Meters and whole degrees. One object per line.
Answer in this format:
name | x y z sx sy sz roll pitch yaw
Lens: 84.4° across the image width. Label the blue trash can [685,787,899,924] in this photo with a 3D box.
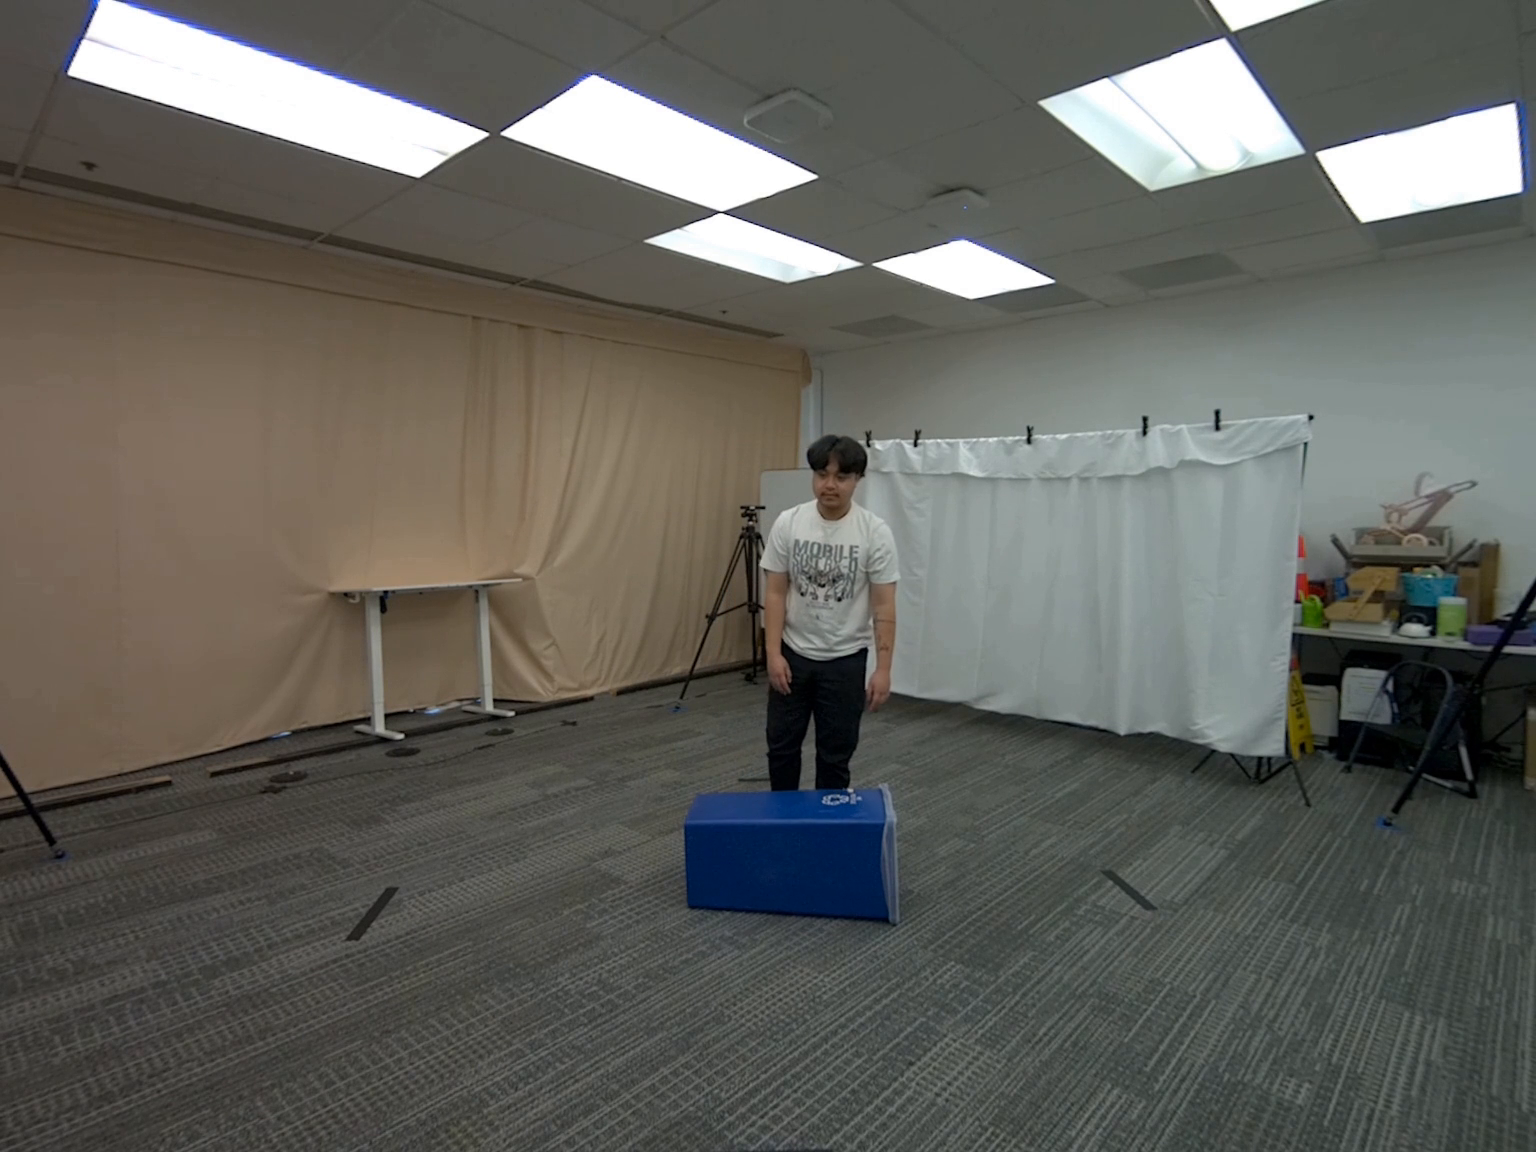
blue trash can | 0.087 0.977 2.990 0.718 0.377 0.372 -3 4 6
